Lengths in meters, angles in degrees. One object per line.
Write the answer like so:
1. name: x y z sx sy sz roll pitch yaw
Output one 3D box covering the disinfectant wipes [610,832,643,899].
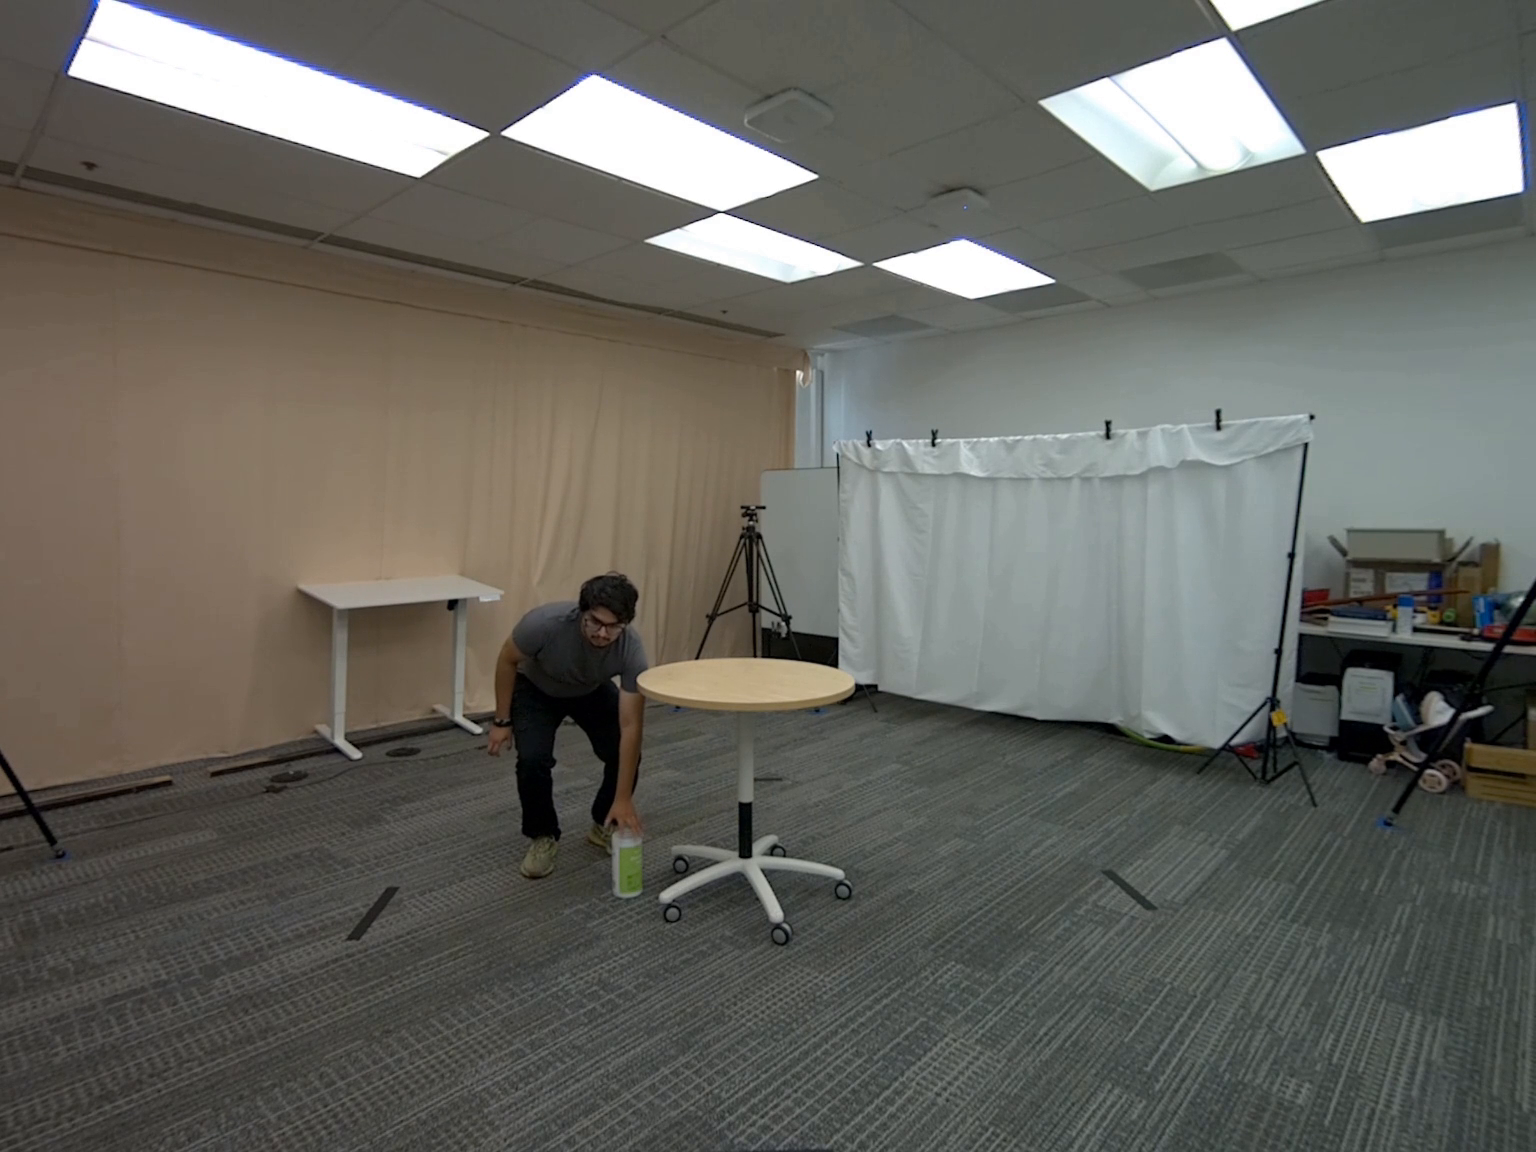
1. disinfectant wipes: -0.506 1.038 3.040 0.118 0.217 0.118 -2 2 -2
